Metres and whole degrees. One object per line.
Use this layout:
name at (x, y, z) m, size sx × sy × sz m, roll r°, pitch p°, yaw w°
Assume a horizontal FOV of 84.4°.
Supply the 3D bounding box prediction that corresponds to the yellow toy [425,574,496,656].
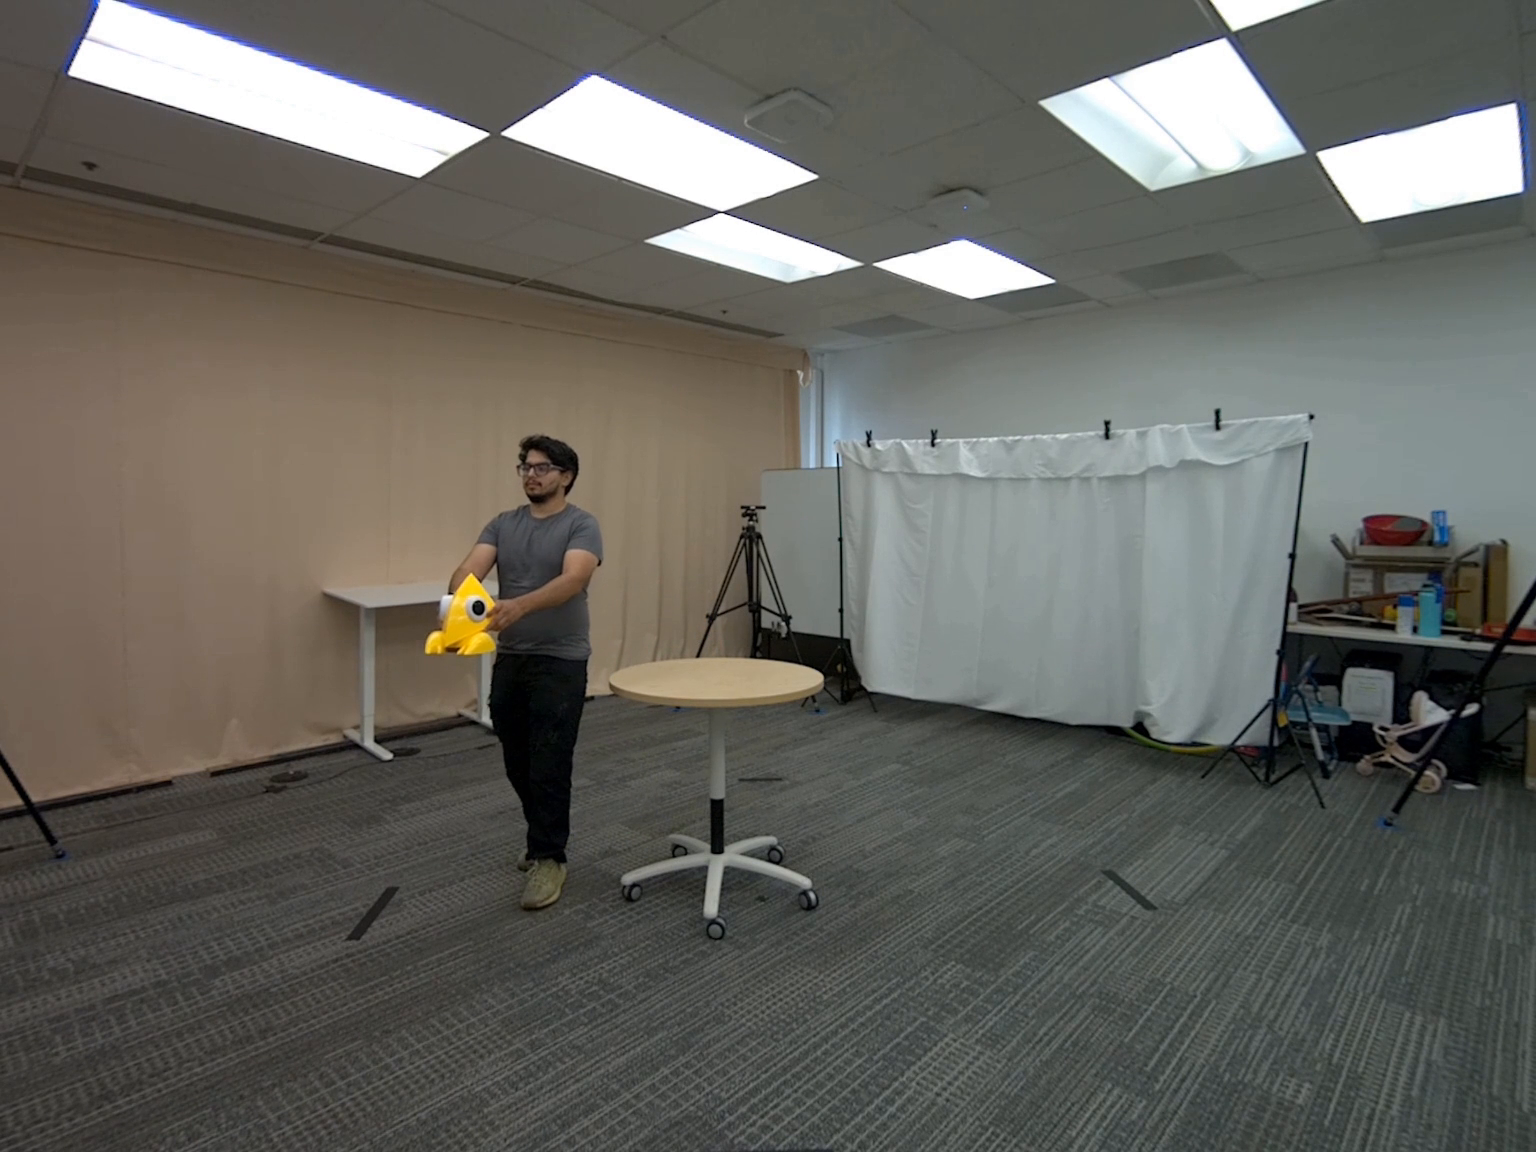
yellow toy at (-0.927, 0.110, 2.565) m, size 0.208 × 0.230 × 0.190 m, roll 2°, pitch 2°, yaw 13°
